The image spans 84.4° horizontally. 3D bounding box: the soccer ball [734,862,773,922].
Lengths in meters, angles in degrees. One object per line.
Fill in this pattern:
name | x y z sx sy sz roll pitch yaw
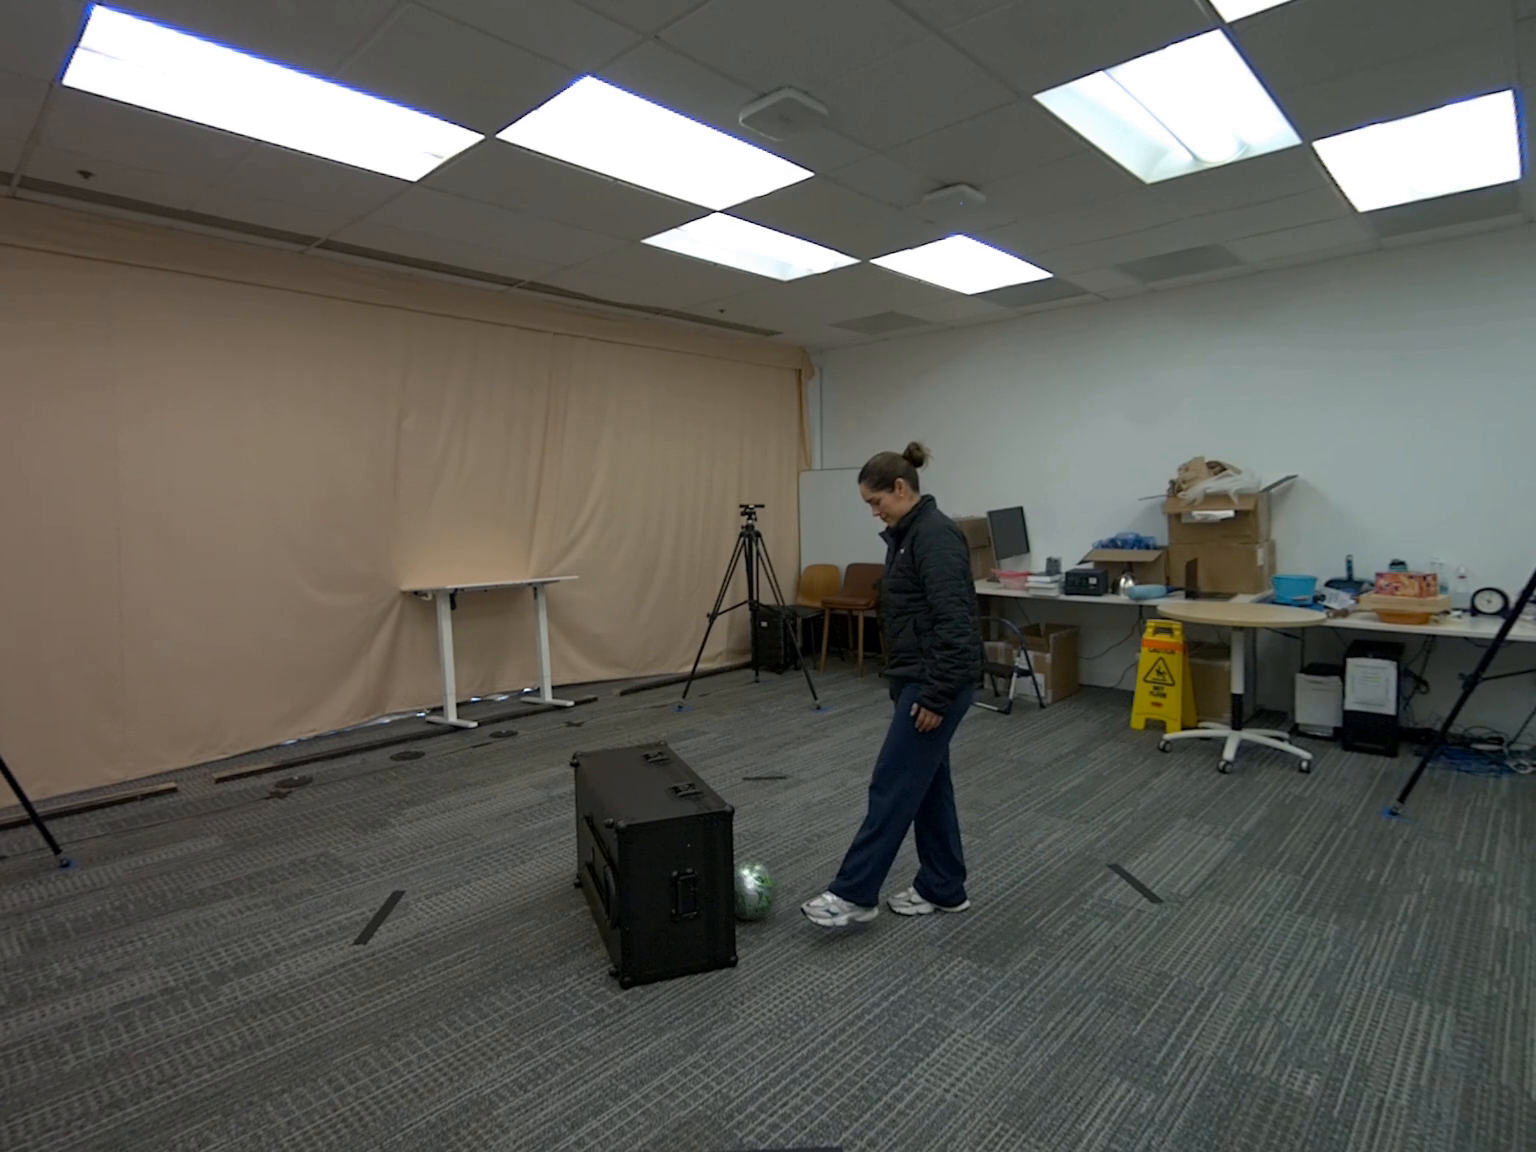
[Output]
soccer ball | -0.054 1.066 2.839 0.187 0.187 0.188 -1 4 -2
